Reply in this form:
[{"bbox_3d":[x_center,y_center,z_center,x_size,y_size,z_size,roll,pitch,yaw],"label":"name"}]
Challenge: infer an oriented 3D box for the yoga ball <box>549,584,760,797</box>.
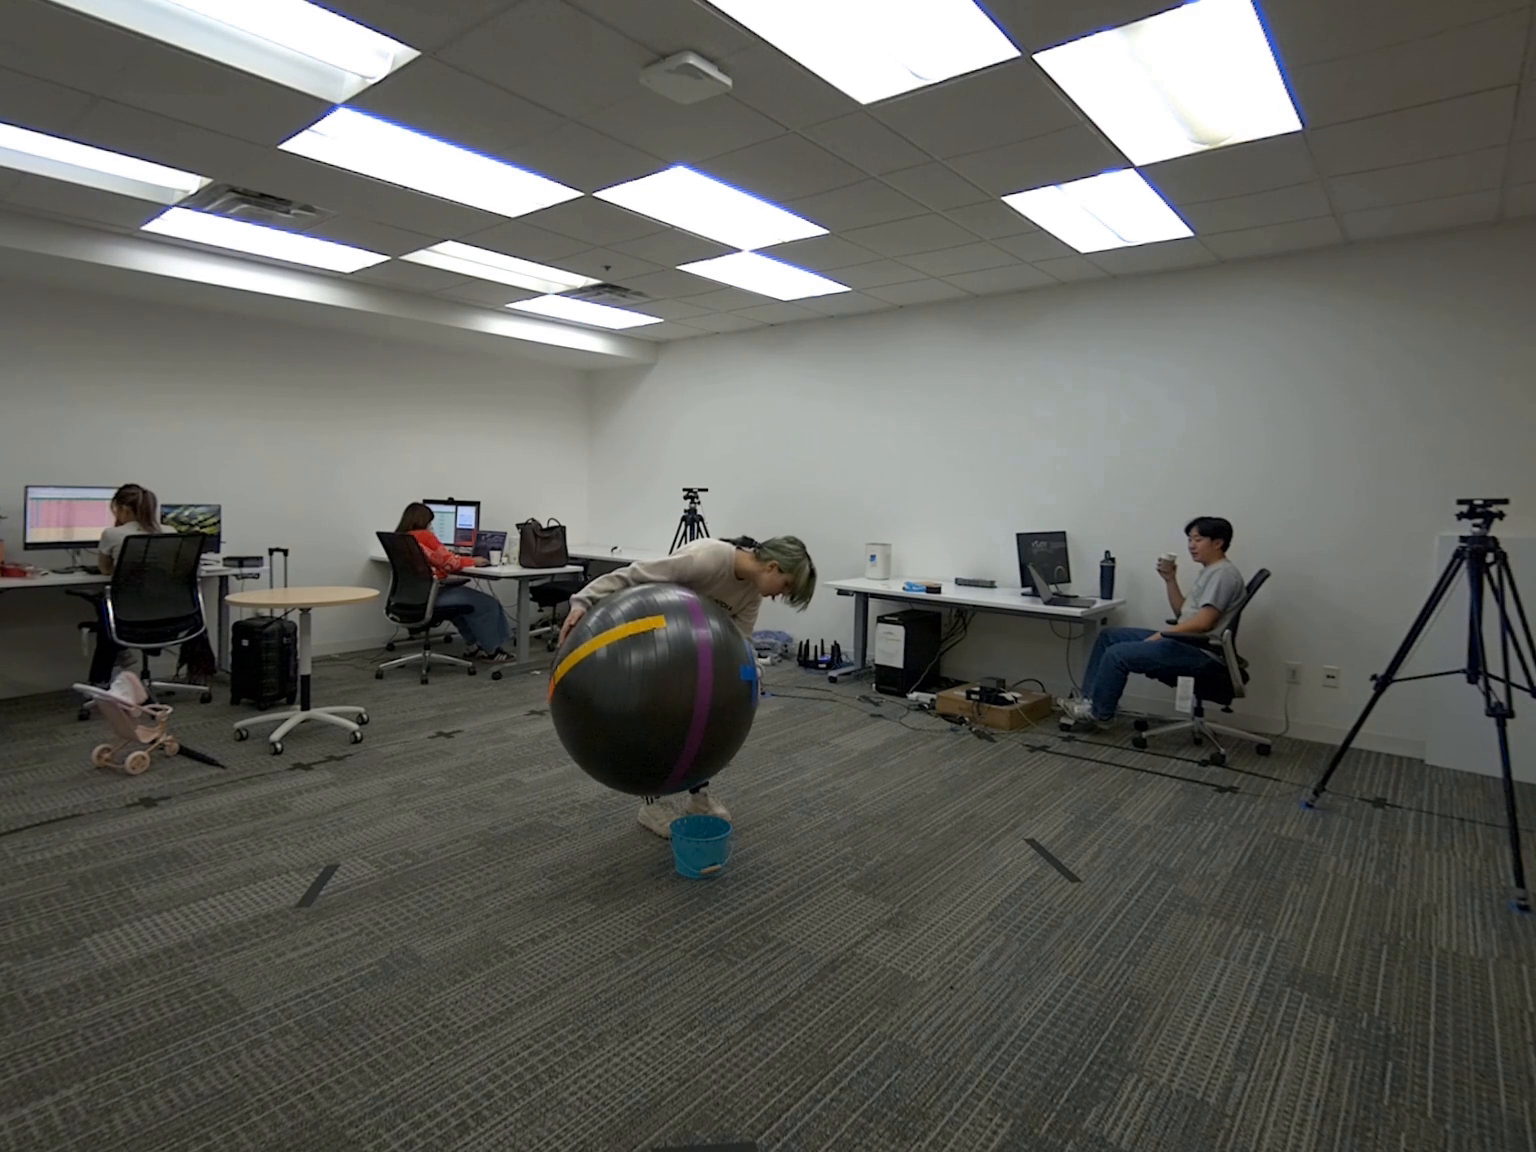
[{"bbox_3d":[-0.418,0.413,3.080,0.757,0.756,0.762,1,4,-2],"label":"yoga ball"}]
